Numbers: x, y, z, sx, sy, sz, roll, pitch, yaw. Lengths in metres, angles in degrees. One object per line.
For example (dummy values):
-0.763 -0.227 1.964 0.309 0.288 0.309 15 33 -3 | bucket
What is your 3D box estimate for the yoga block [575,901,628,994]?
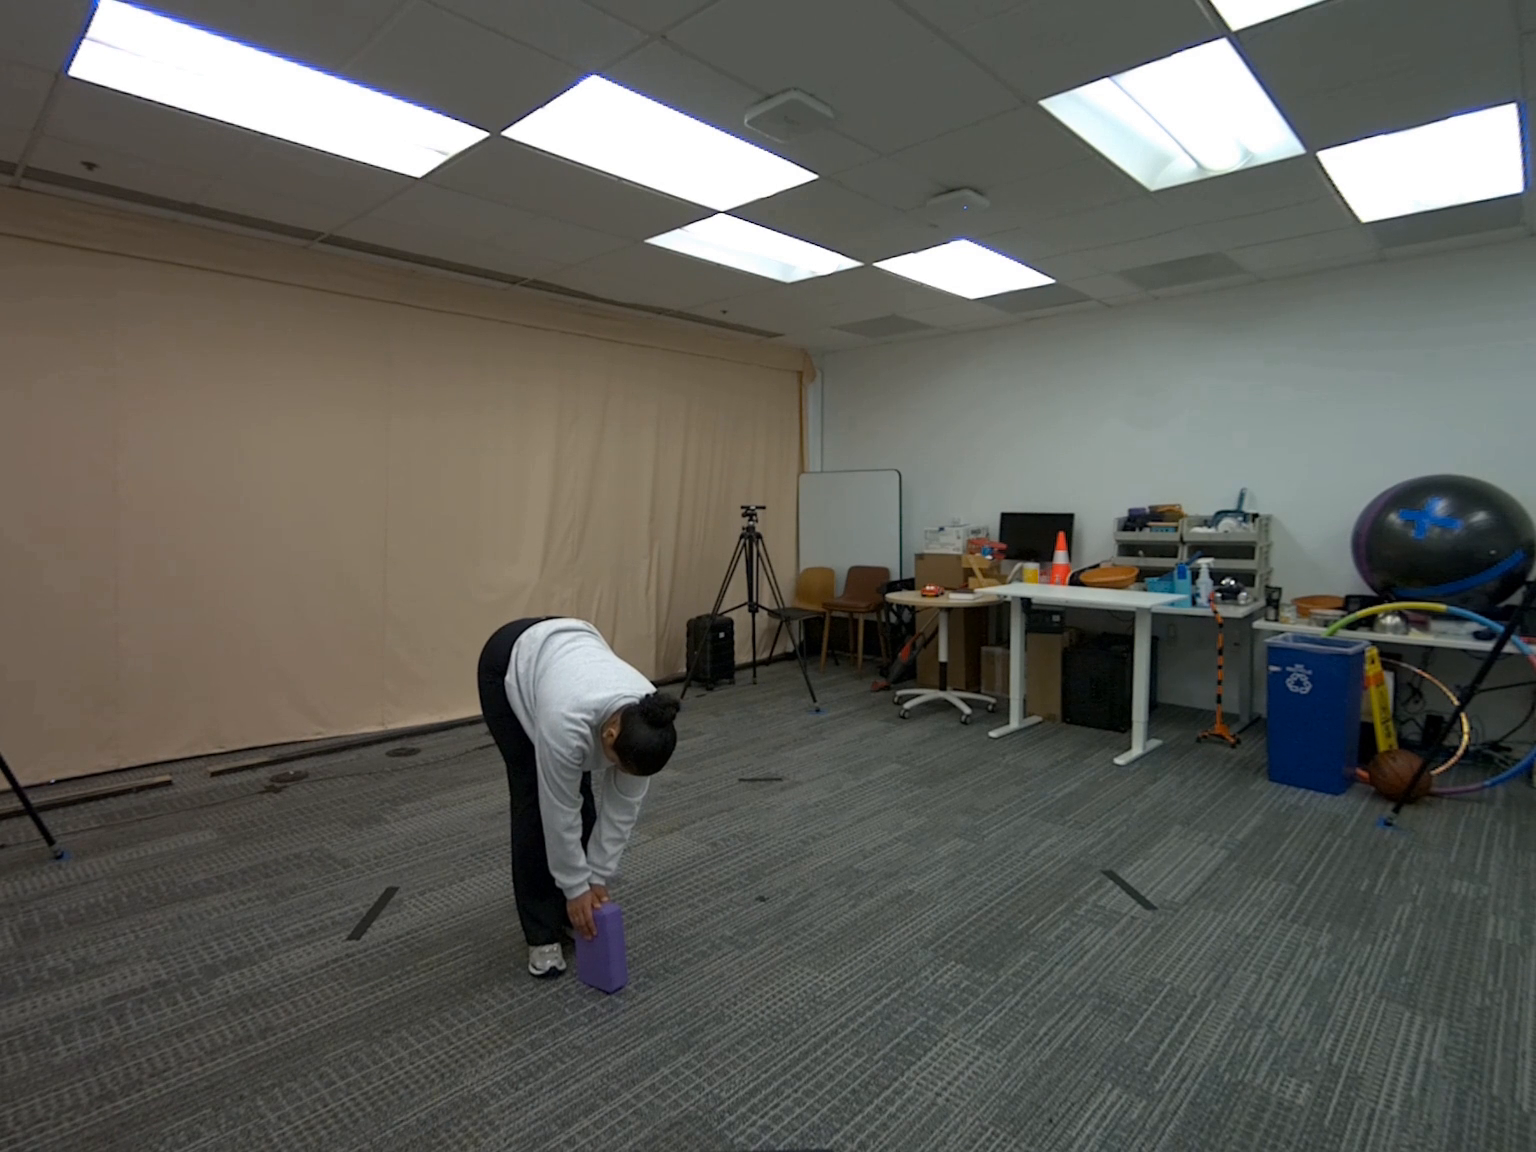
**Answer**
-0.486 1.072 2.457 0.153 0.229 0.074 -5 0 39 | yoga block
